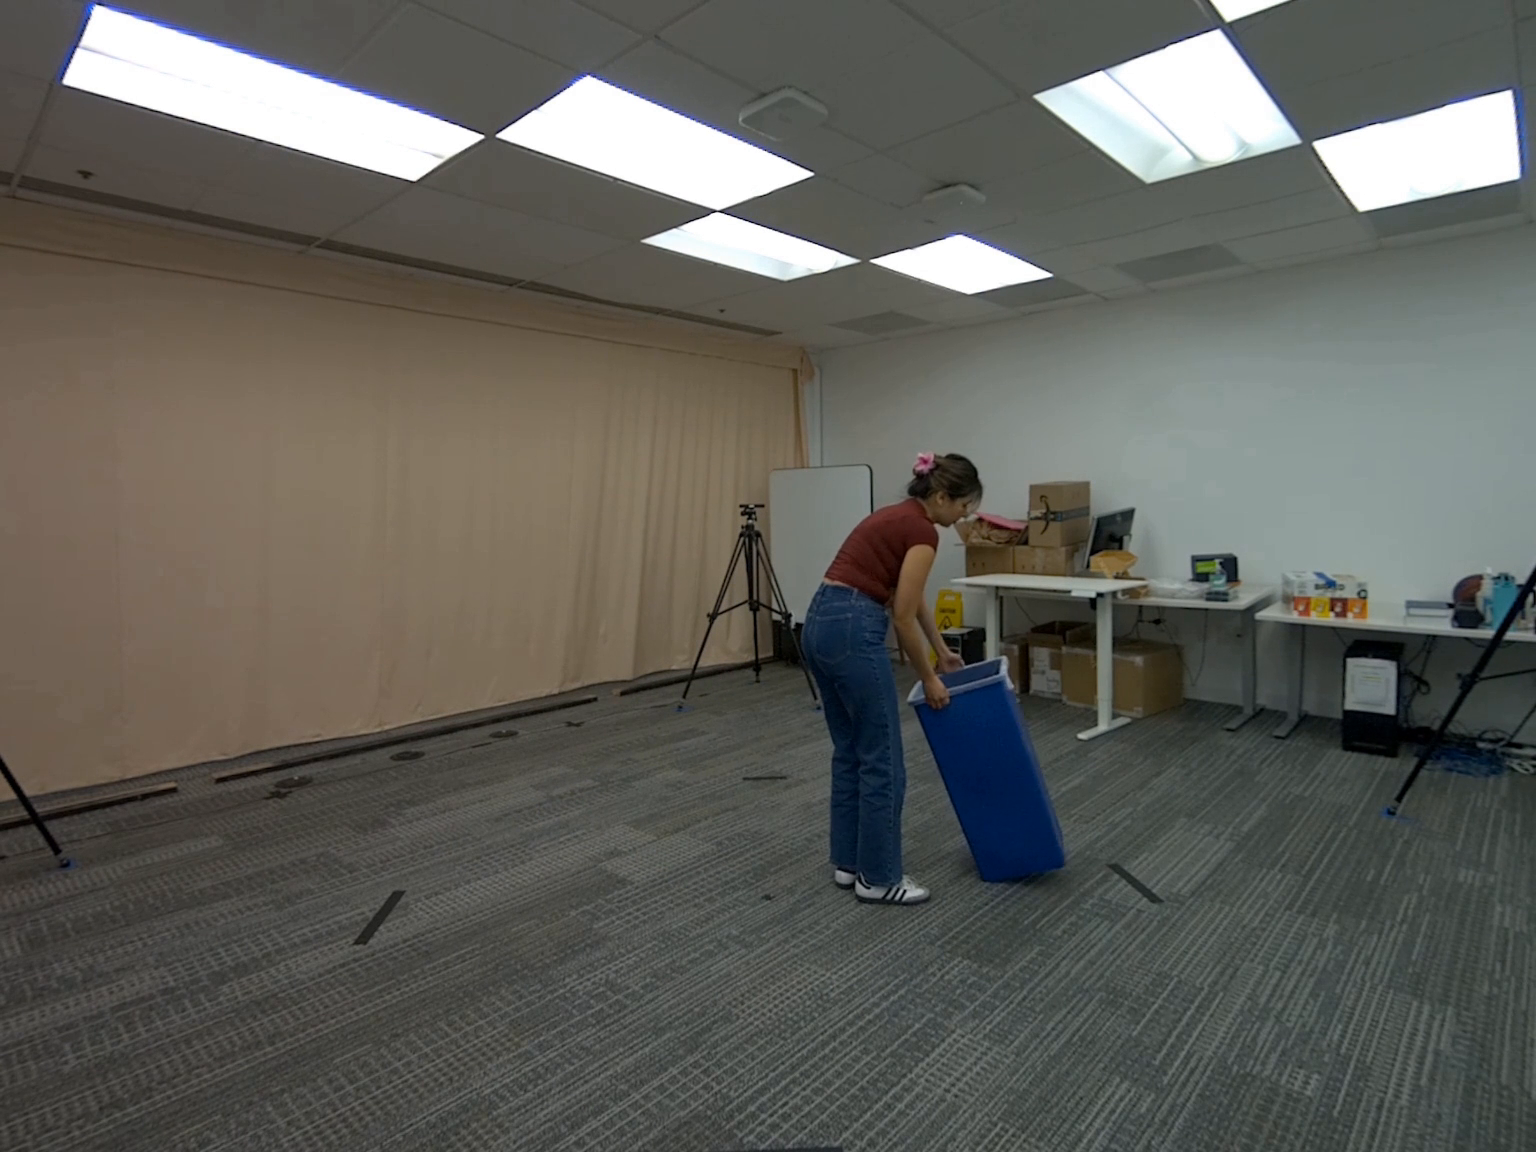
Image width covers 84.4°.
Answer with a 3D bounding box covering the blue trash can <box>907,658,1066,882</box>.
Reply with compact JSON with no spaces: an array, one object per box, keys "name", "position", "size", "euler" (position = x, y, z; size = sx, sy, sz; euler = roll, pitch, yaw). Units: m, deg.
[{"name":"blue trash can","position":[0.841,0.726,3.177],"size":[0.380,0.715,0.371],"euler":[-19,-3,18]}]
